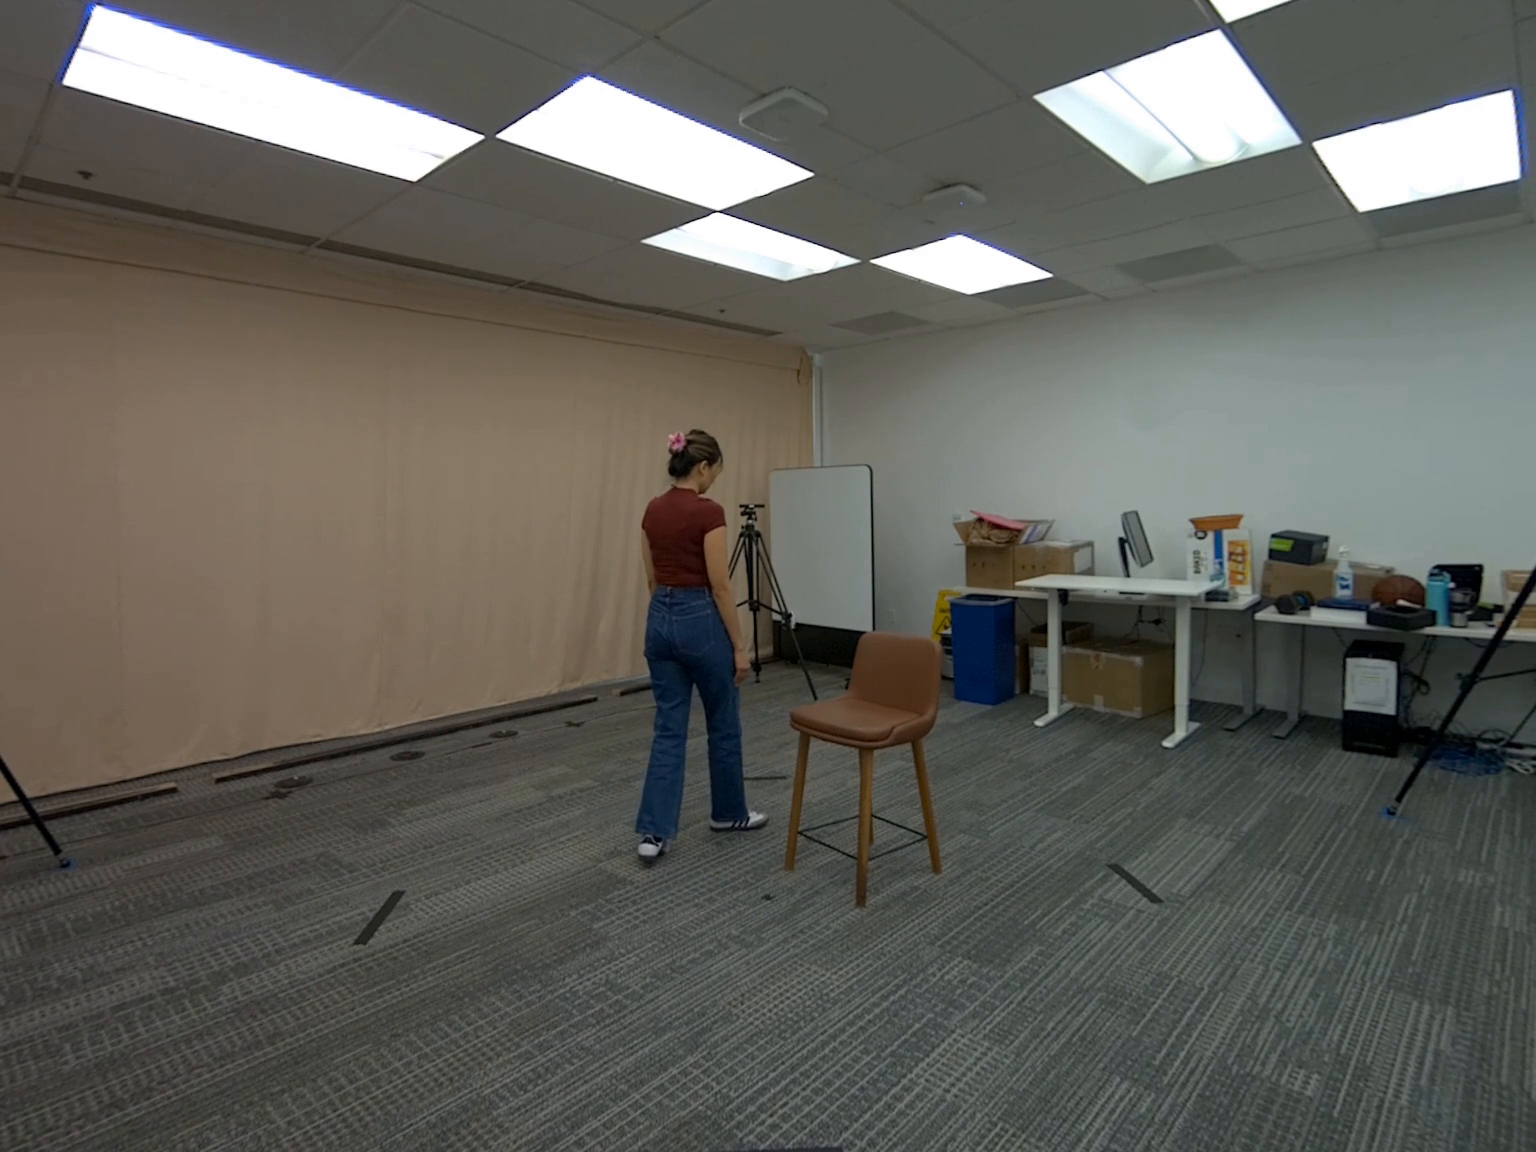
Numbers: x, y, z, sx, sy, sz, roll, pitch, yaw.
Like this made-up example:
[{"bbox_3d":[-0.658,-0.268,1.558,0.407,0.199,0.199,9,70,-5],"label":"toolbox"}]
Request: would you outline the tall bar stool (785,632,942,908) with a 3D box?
[{"bbox_3d":[0.368,0.681,3.161,0.453,0.888,0.471,-1,3,-38],"label":"tall bar stool"}]
